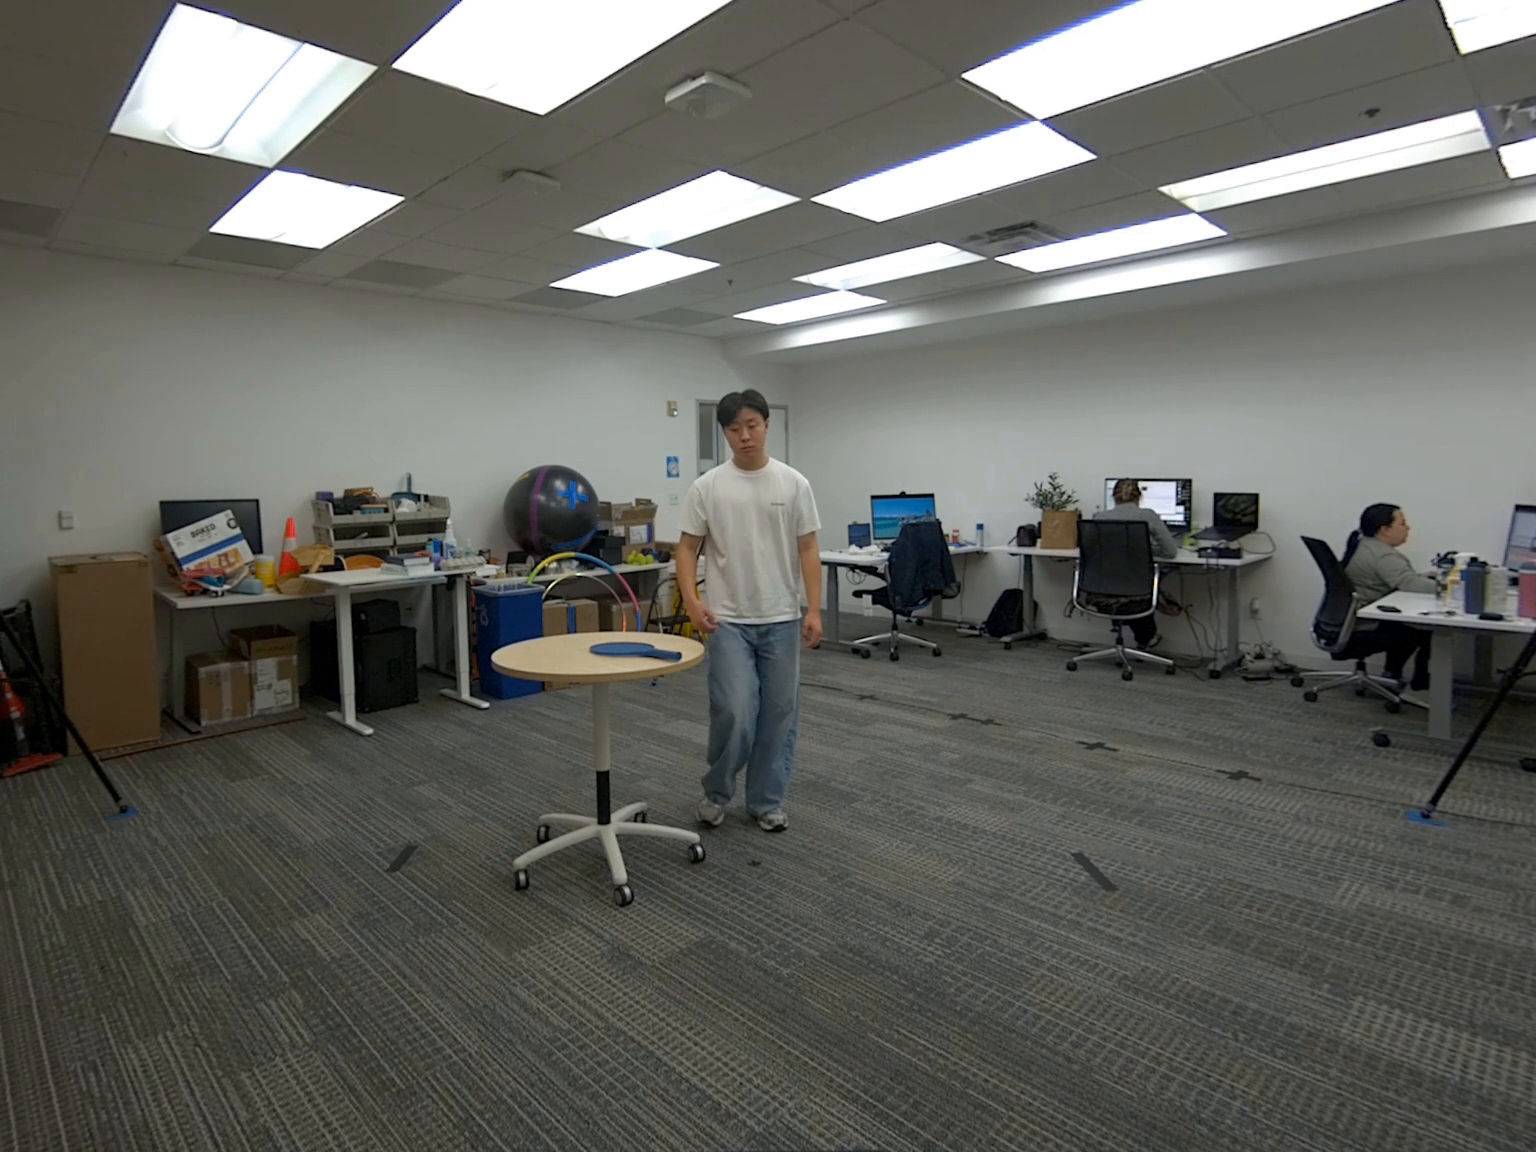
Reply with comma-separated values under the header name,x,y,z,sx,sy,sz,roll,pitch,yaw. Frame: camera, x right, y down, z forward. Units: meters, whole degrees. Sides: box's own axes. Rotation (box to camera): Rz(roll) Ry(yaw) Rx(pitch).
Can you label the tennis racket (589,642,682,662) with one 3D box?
name,x,y,z,sx,sy,sz,roll,pitch,yaw
tennis racket,-0.470,0.269,3.040,0.446,0.031,0.208,3,7,45
